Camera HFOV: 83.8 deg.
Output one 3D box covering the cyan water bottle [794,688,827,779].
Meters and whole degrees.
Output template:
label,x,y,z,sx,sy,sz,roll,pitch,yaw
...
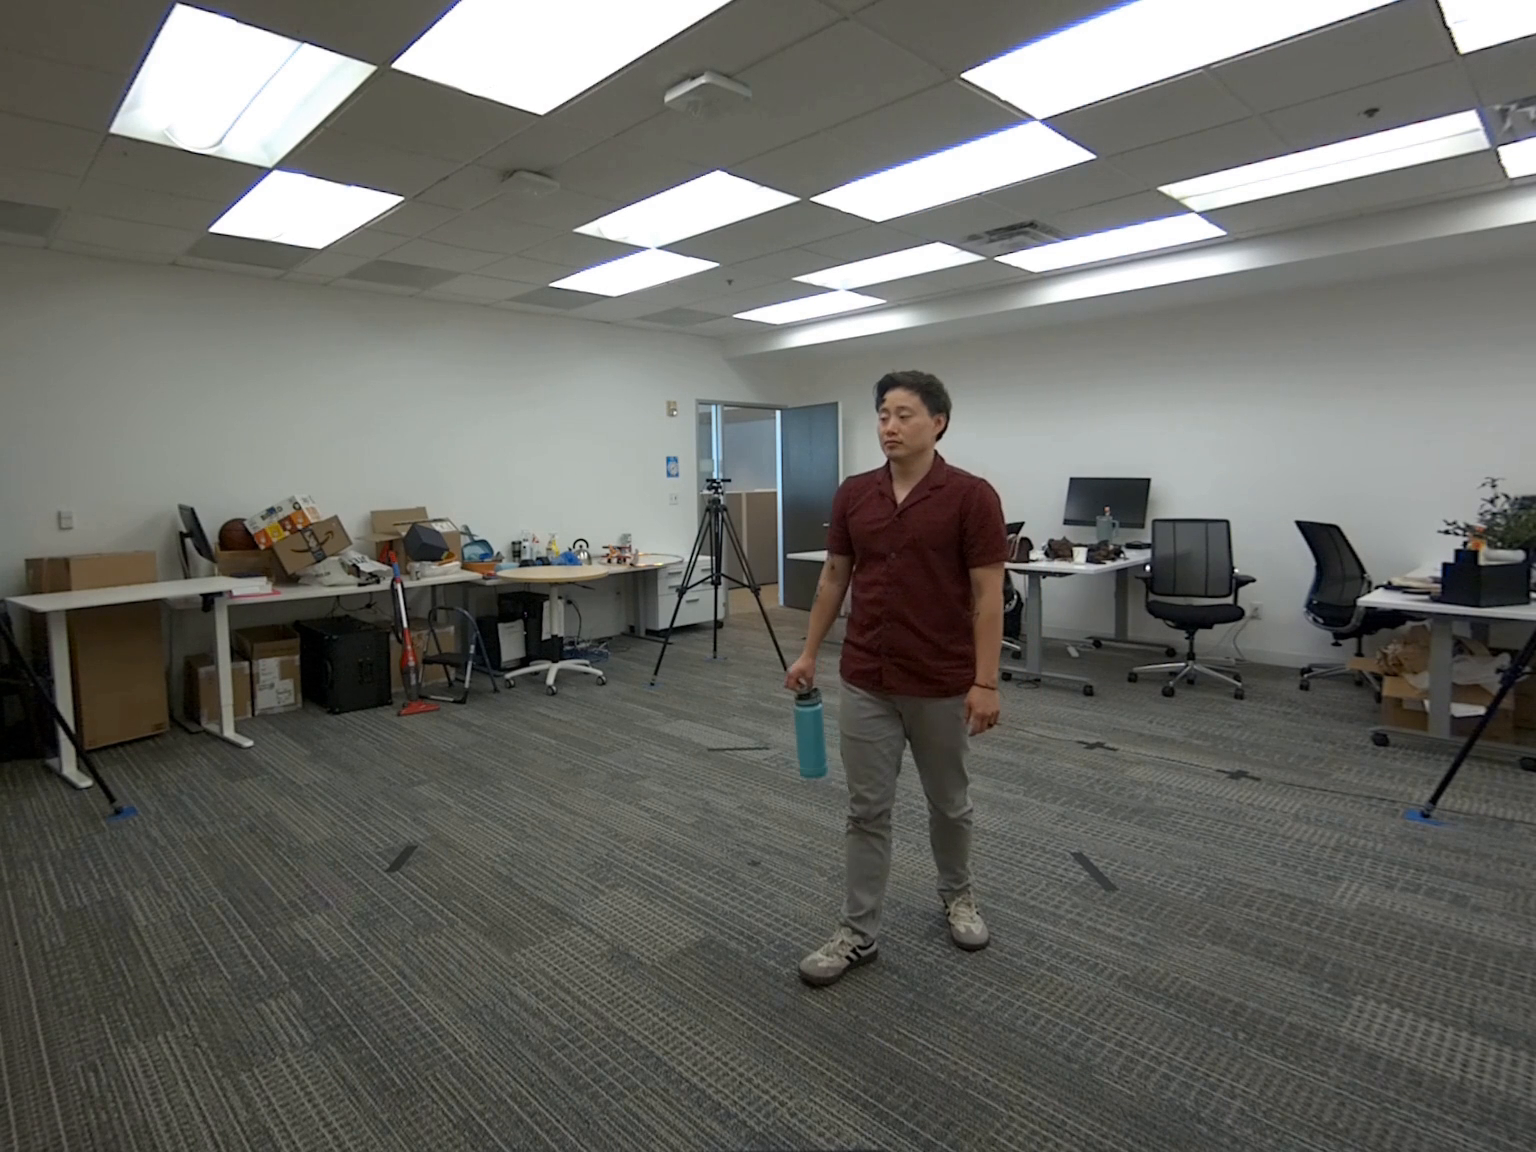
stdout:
label,x,y,z,sx,sy,sz,roll,pitch,yaw
cyan water bottle,0.136,0.478,2.638,0.092,0.281,0.093,-5,6,-1
